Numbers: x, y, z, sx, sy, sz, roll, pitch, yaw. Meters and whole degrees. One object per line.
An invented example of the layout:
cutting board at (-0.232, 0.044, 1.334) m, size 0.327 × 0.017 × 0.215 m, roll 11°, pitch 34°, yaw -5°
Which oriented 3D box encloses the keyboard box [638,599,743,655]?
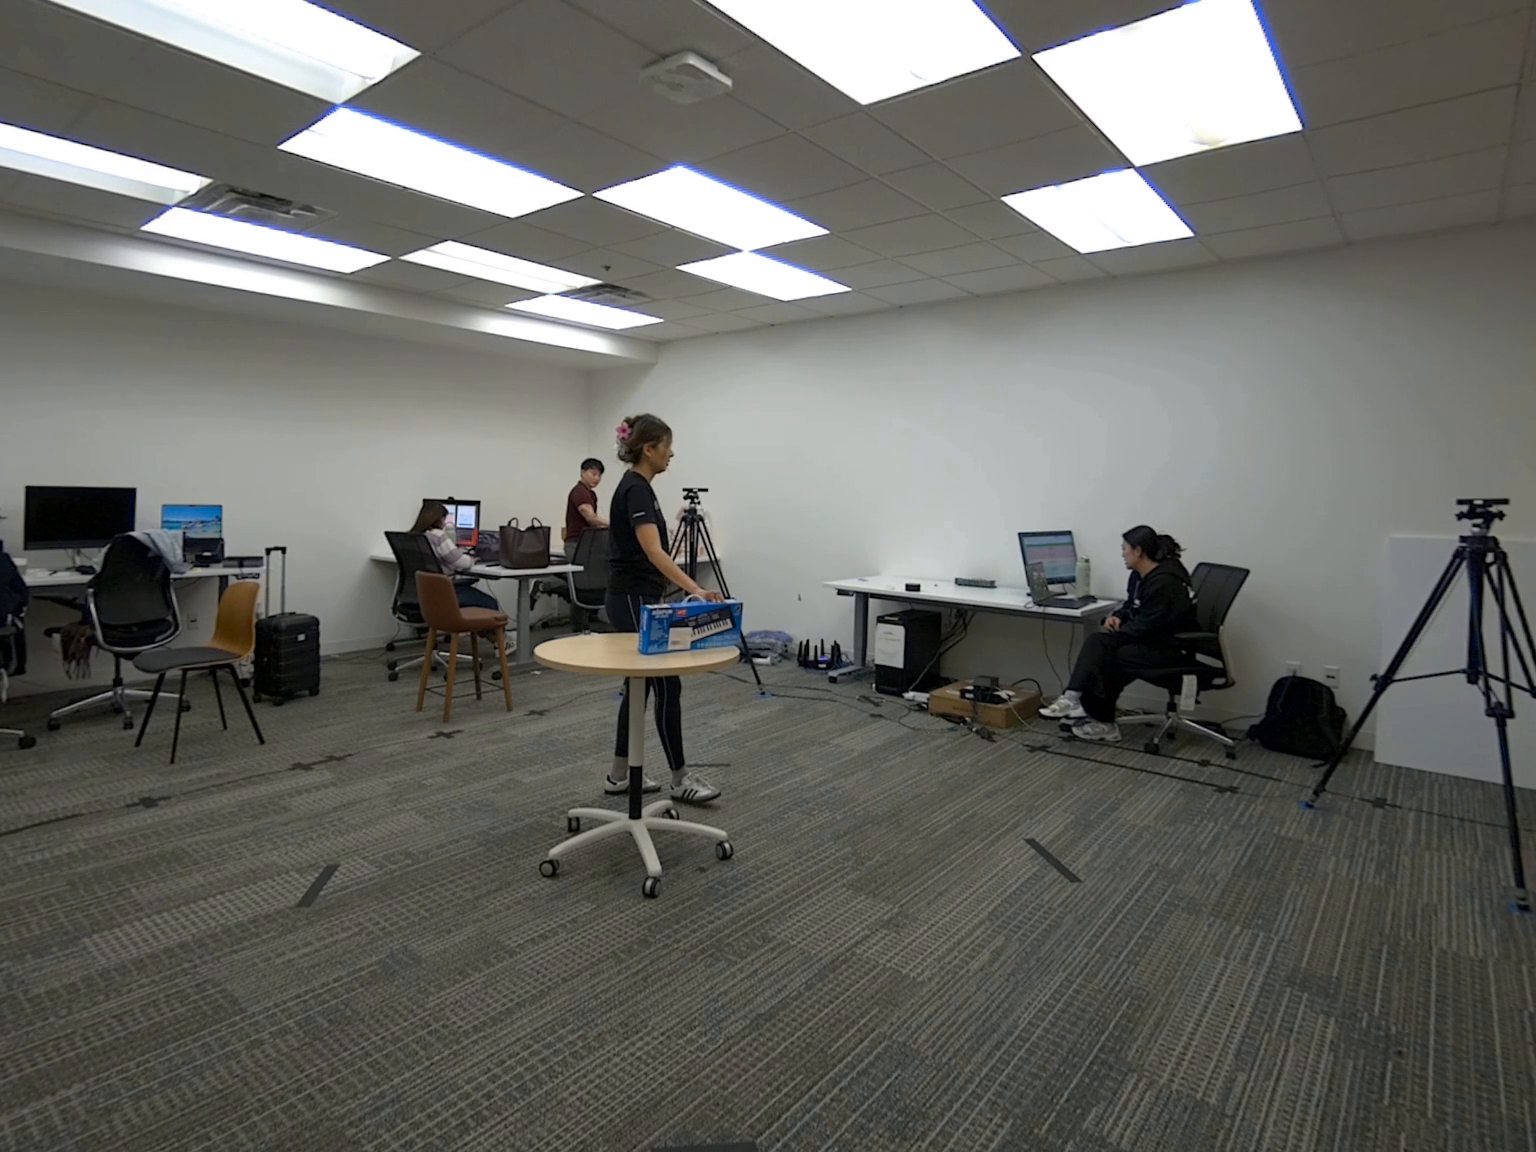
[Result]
keyboard box at (-0.299, 0.188, 3.216) m, size 0.424 × 0.175 × 0.061 m, roll -2°, pitch 9°, yaw -39°
